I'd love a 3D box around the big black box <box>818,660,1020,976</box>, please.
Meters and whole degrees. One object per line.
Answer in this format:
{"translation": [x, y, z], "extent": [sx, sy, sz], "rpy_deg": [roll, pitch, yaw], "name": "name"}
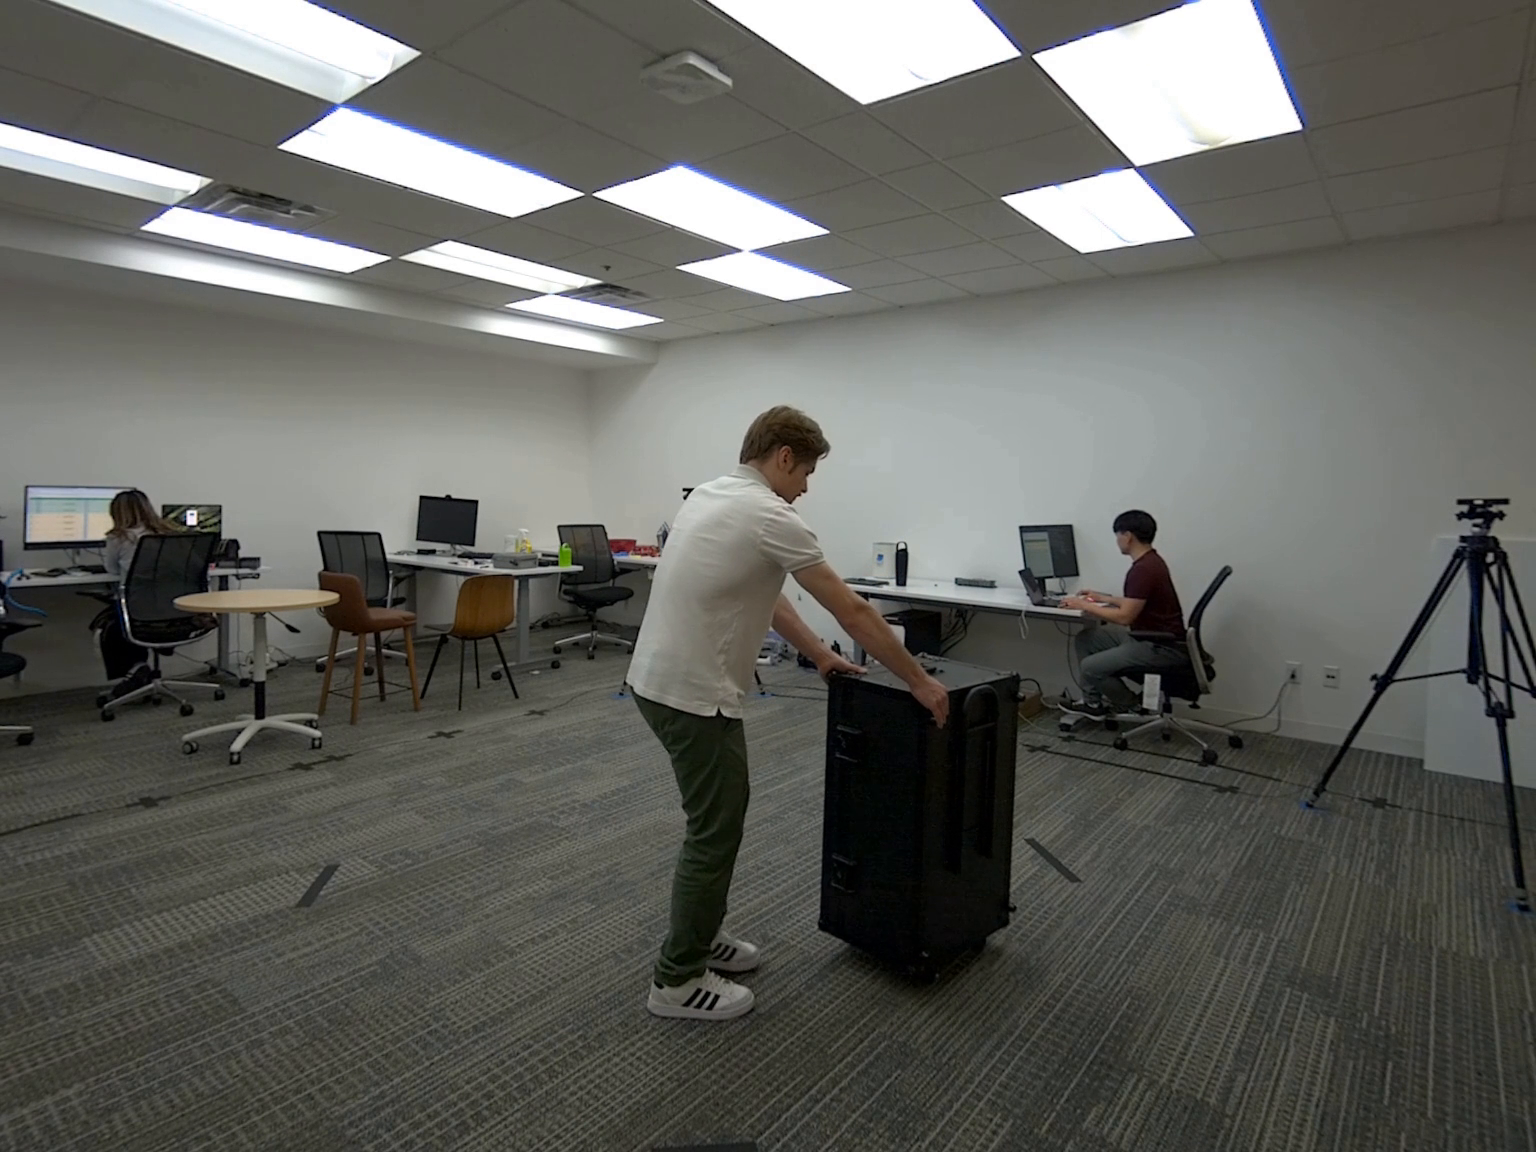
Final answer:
{"translation": [0.460, 0.714, 2.581], "extent": [0.507, 0.865, 0.398], "rpy_deg": [-3, 5, -44], "name": "big black box"}
